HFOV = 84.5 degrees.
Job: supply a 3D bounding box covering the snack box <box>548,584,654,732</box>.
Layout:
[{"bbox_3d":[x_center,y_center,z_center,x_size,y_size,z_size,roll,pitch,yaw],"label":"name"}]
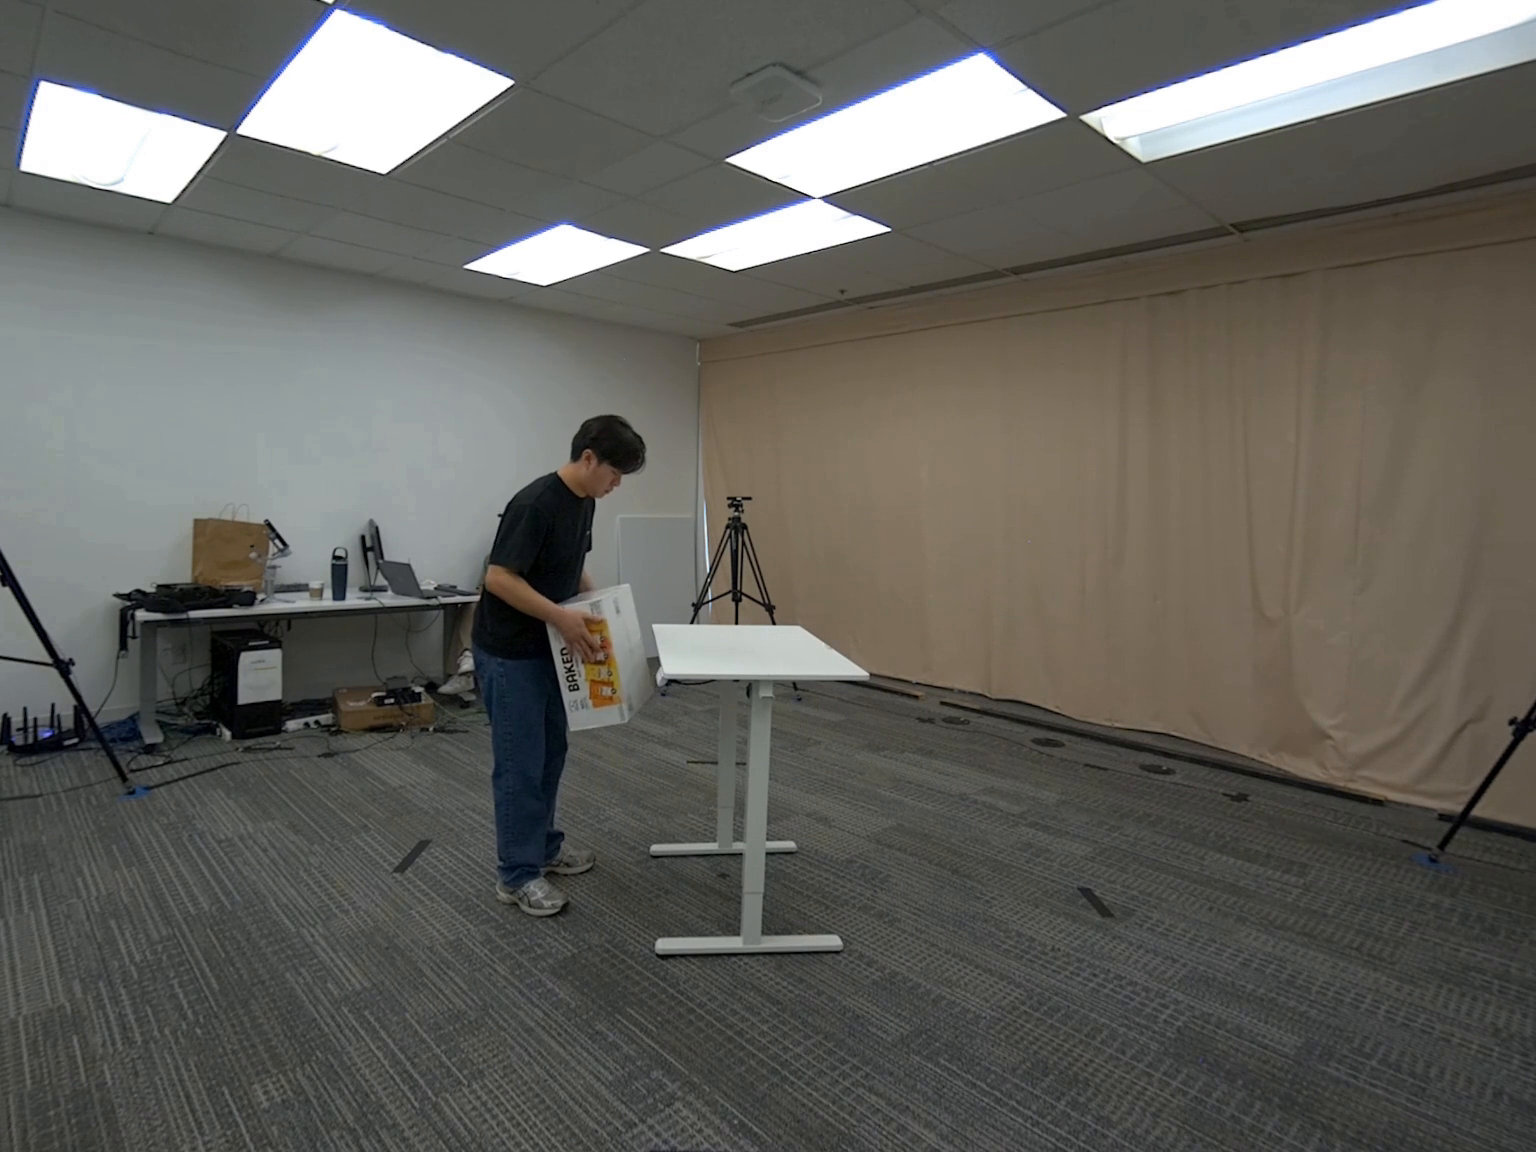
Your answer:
[{"bbox_3d":[-0.577,0.268,2.846,0.207,0.404,0.339,-9,4,9],"label":"snack box"}]
